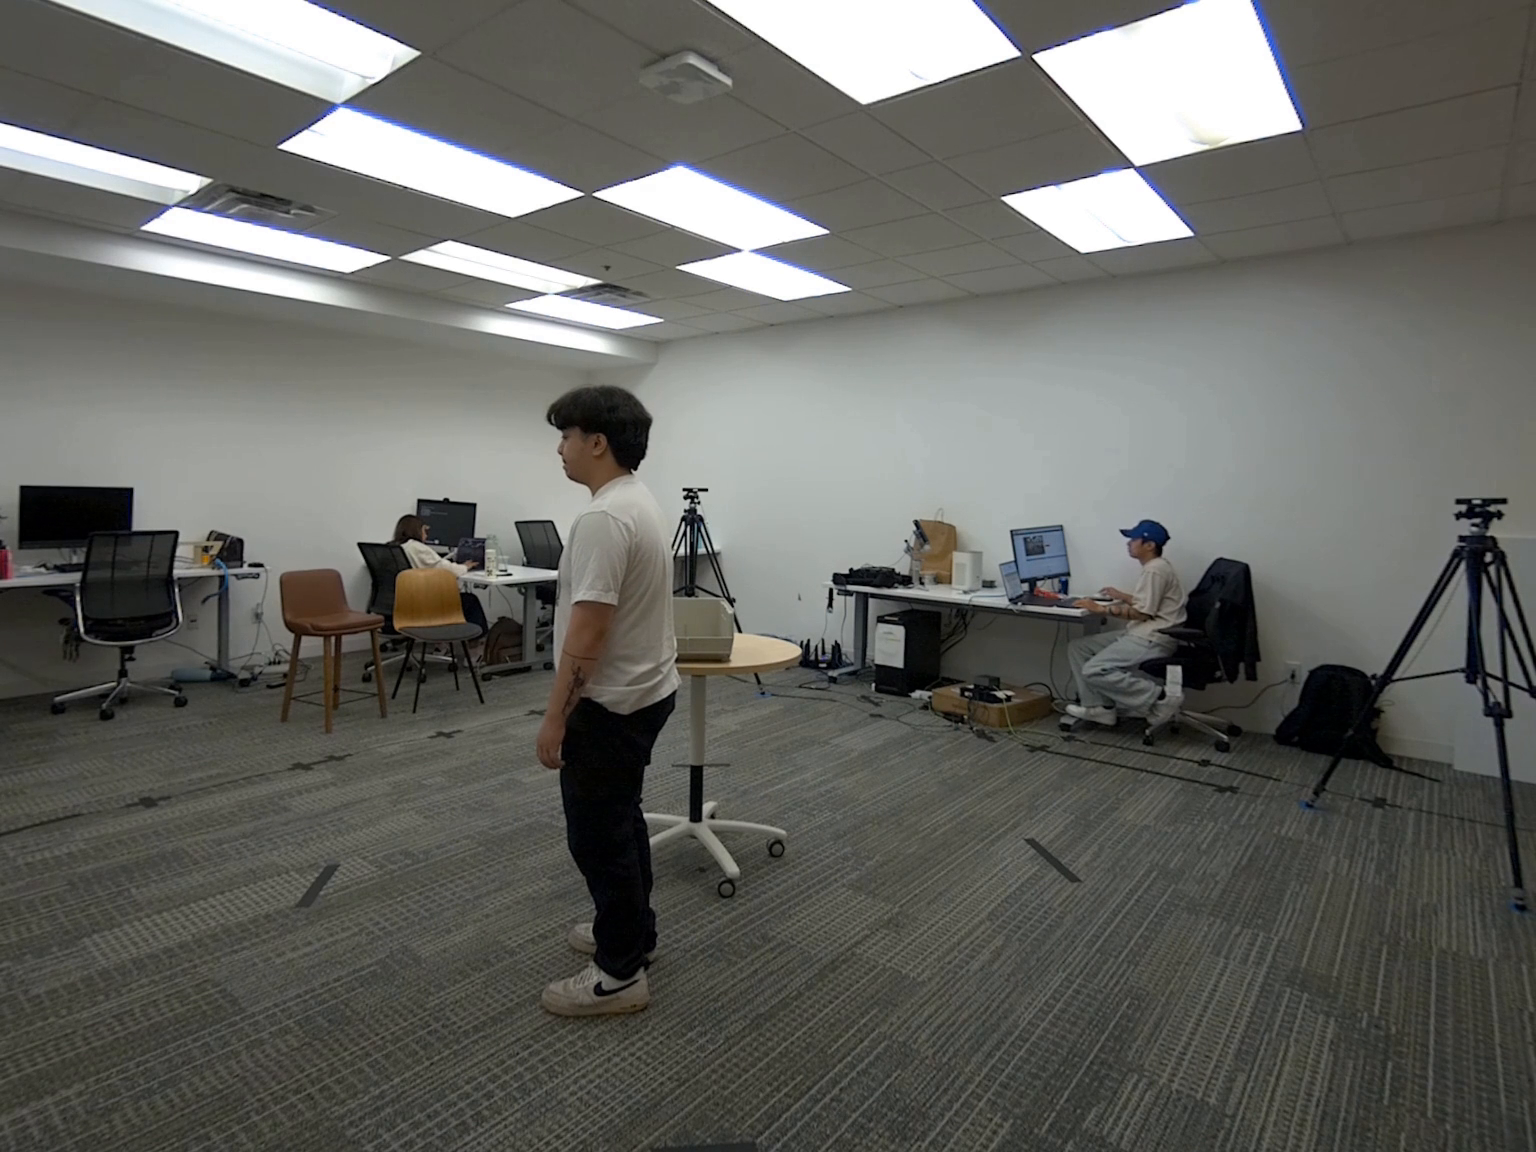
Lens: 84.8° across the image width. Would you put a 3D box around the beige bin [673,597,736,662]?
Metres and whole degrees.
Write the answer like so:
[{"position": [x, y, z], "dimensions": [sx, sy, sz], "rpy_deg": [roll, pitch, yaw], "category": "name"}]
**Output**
[{"position": [-0.351, 0.184, 3.024], "dimensions": [0.420, 0.188, 0.380], "rpy_deg": [0, 4, -6], "category": "beige bin"}]
